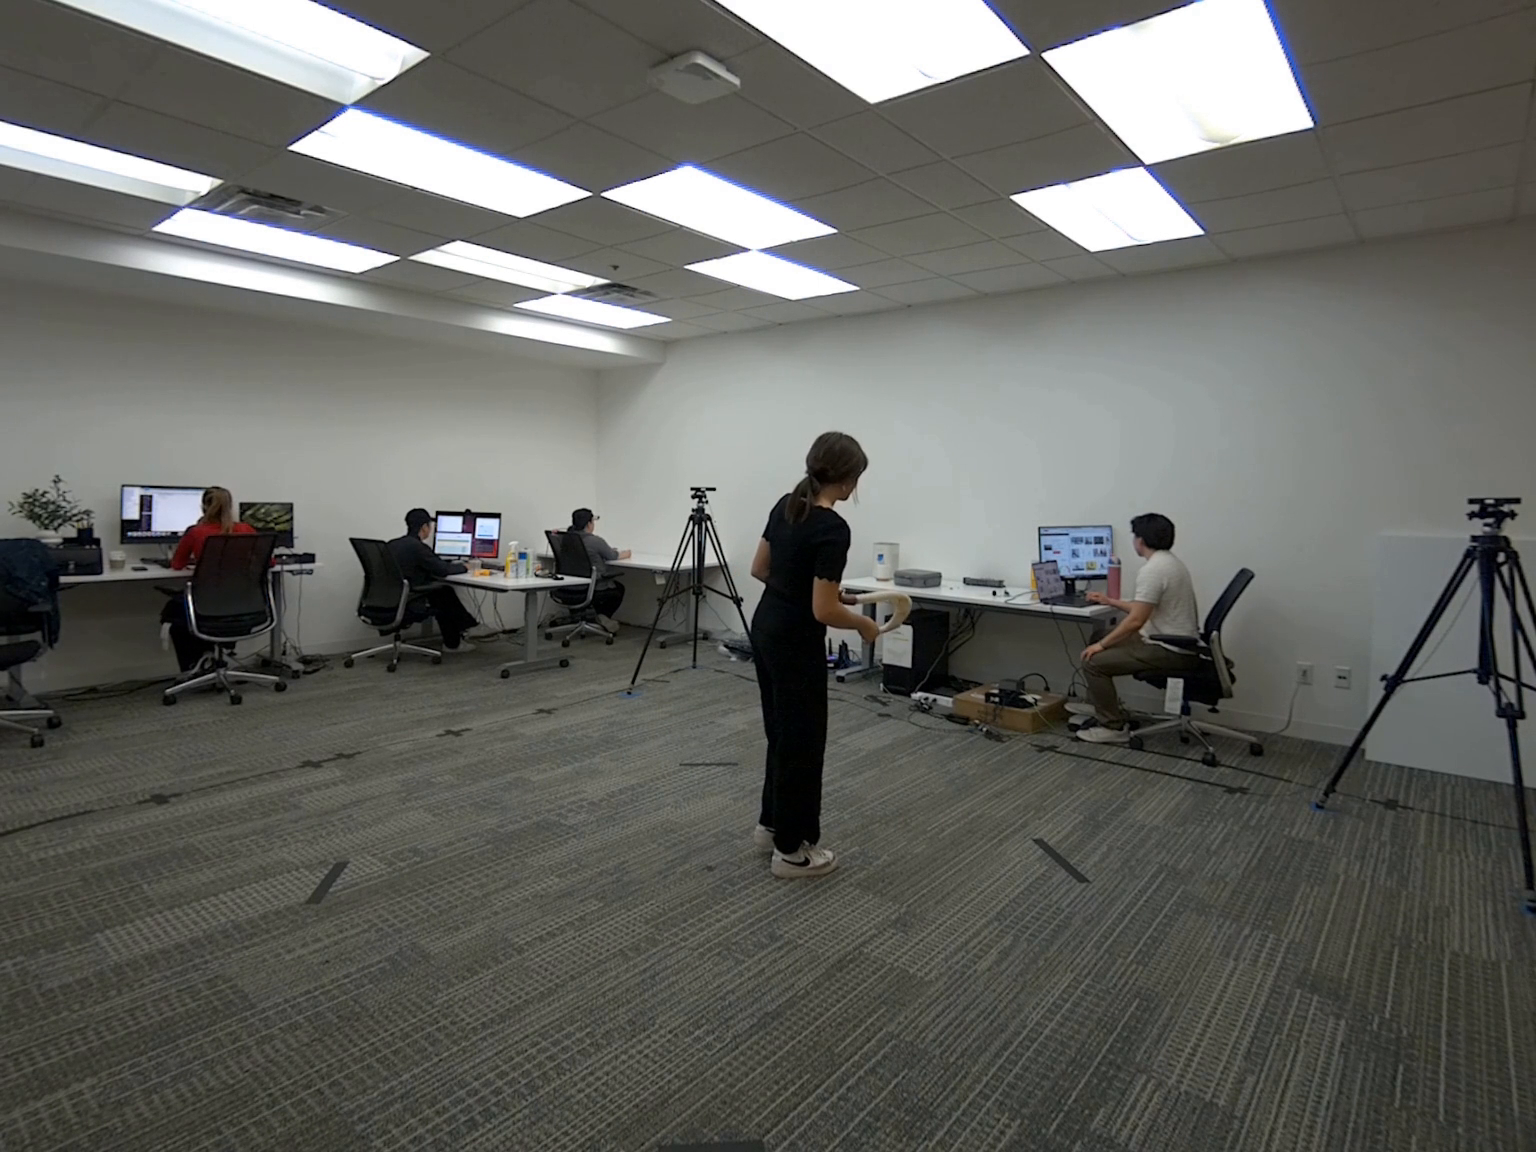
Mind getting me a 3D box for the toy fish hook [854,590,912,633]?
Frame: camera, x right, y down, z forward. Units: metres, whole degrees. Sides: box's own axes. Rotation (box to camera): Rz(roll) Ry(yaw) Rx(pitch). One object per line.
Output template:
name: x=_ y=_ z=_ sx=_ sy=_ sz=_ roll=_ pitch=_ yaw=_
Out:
toy fish hook: x=0.344 y=0.142 z=3.353 sx=0.491 sy=0.222 sz=0.050 roll=8 pitch=24 yaw=-31
